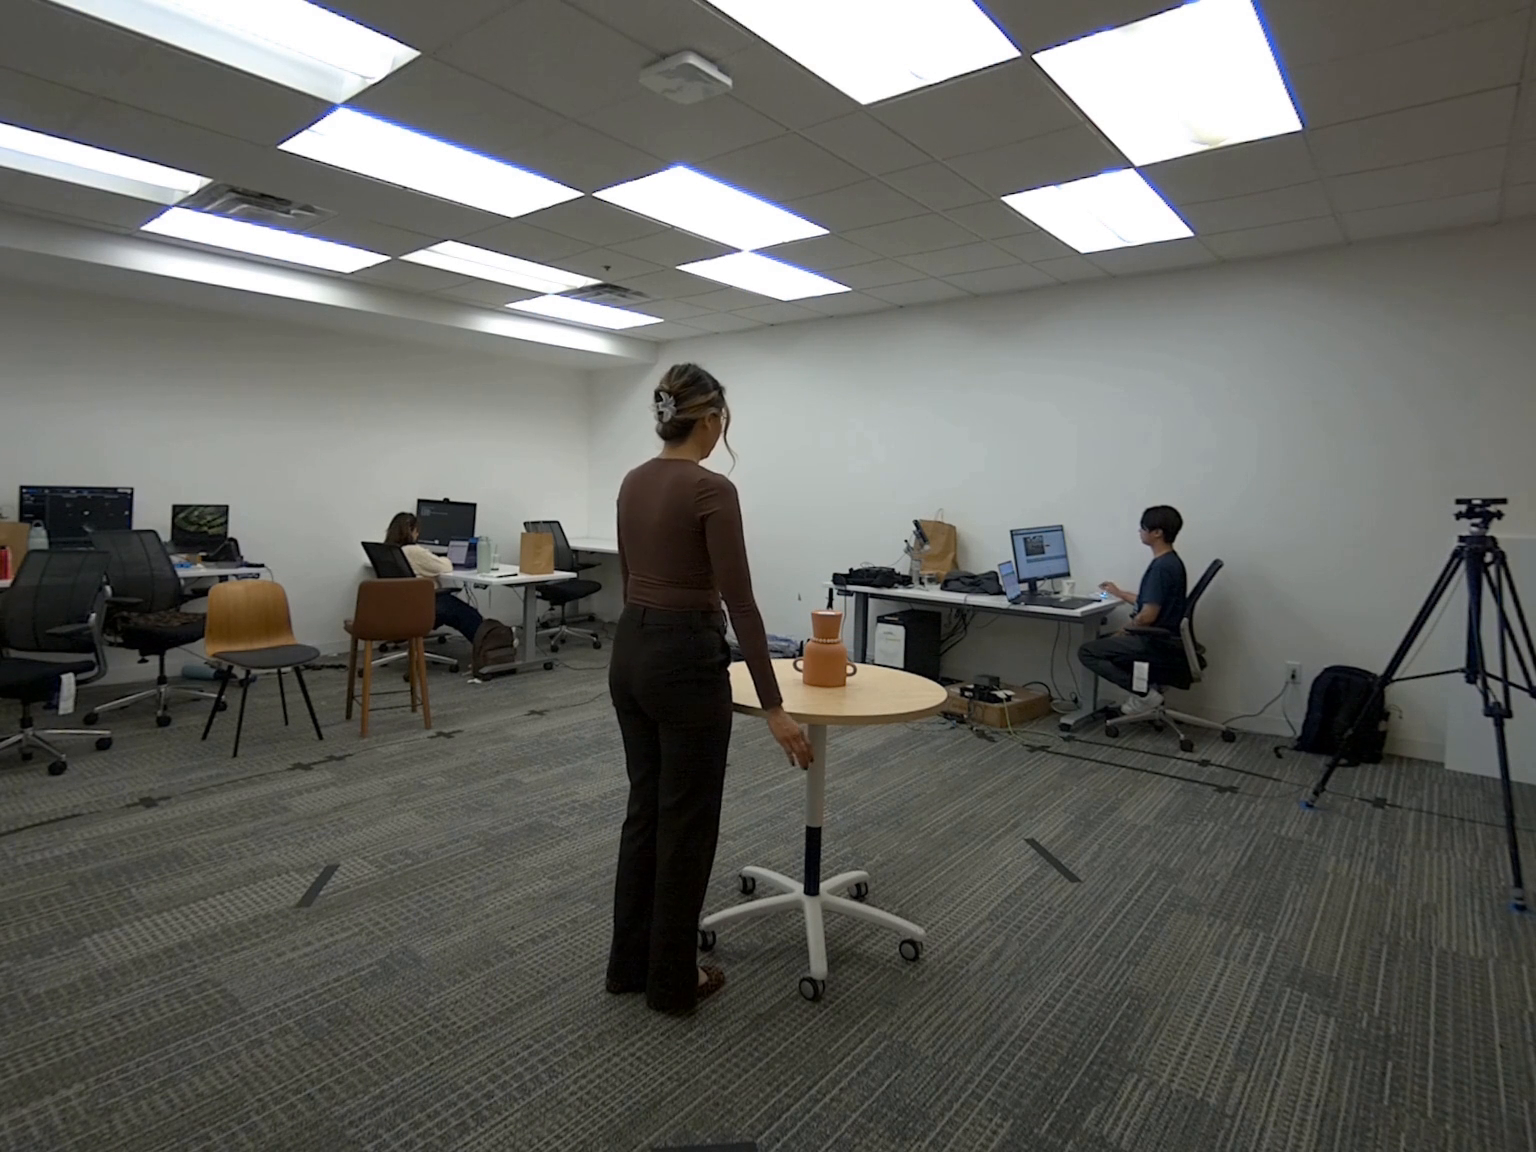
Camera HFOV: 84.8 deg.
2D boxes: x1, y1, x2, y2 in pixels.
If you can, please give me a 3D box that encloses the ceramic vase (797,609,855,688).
[{"bbox_3d":[0.172,0.218,2.625,0.155,0.219,0.138,0,5,-25],"label":"ceramic vase"}]
